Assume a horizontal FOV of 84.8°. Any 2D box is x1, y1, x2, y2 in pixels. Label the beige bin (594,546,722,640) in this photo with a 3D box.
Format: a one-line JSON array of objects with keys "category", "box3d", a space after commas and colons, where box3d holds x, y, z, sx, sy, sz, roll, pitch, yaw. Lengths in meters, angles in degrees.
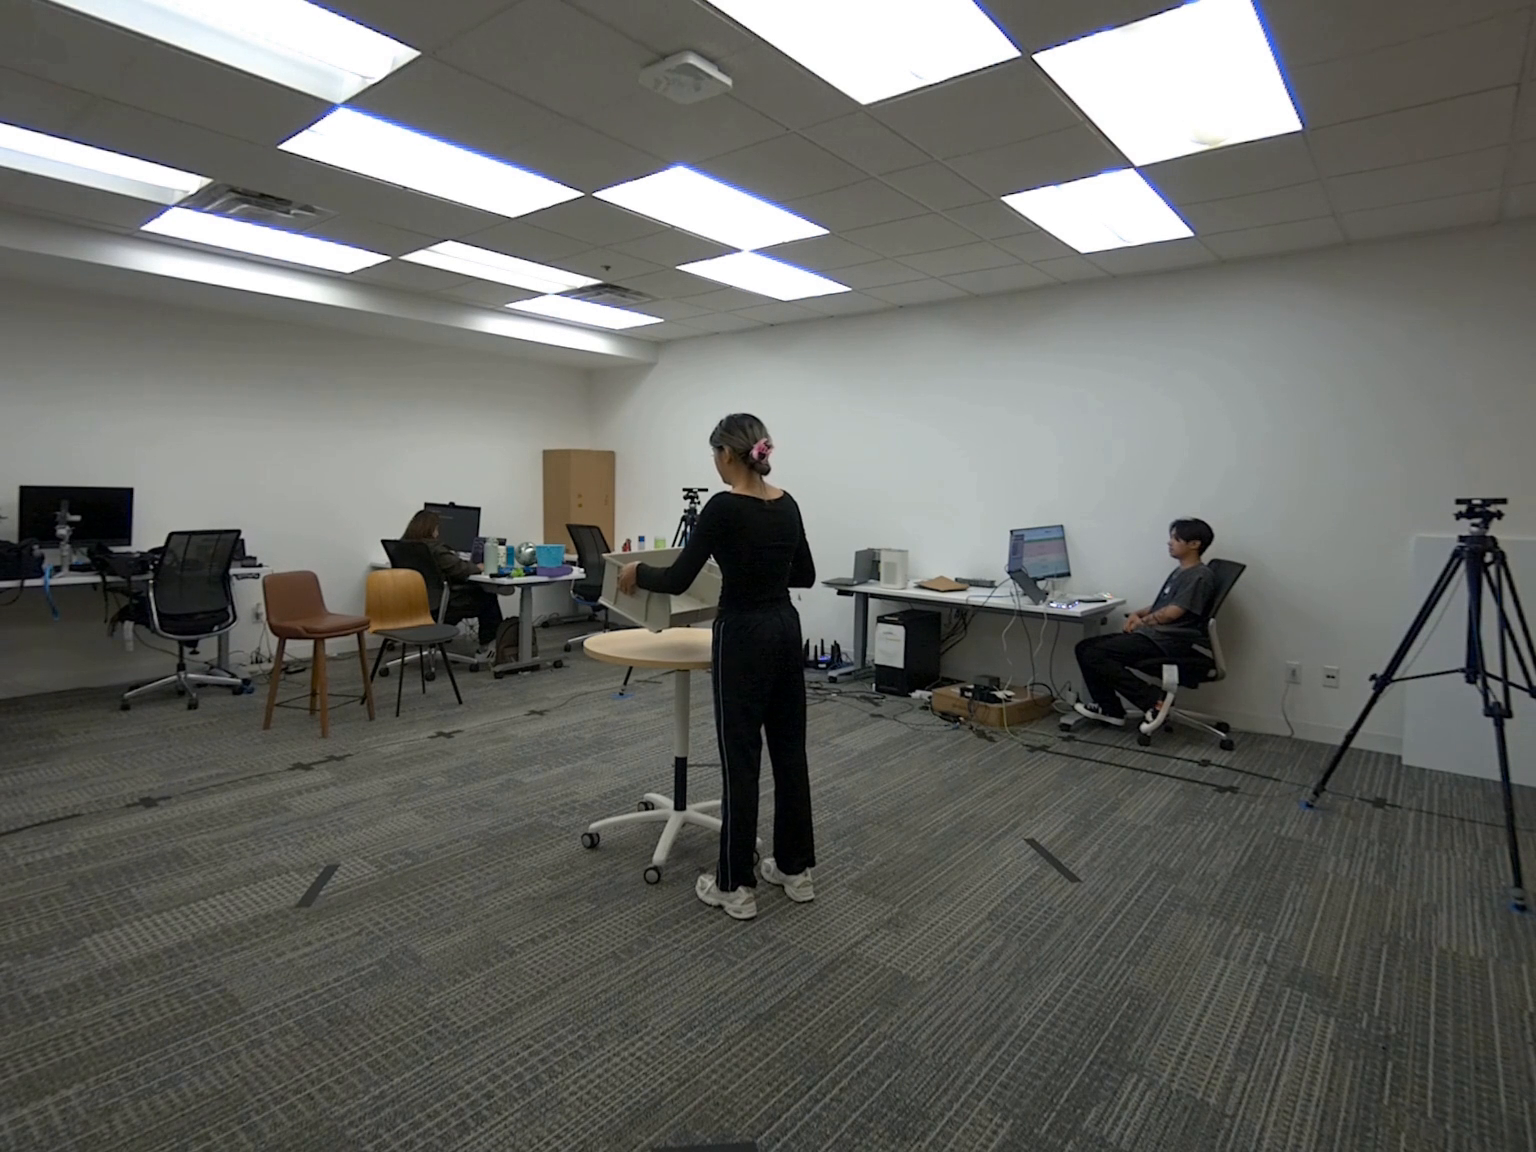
[{"category": "beige bin", "box3d": [-0.352, 0.048, 3.136, 0.392, 0.187, 0.410, 21, 18, 37]}]
